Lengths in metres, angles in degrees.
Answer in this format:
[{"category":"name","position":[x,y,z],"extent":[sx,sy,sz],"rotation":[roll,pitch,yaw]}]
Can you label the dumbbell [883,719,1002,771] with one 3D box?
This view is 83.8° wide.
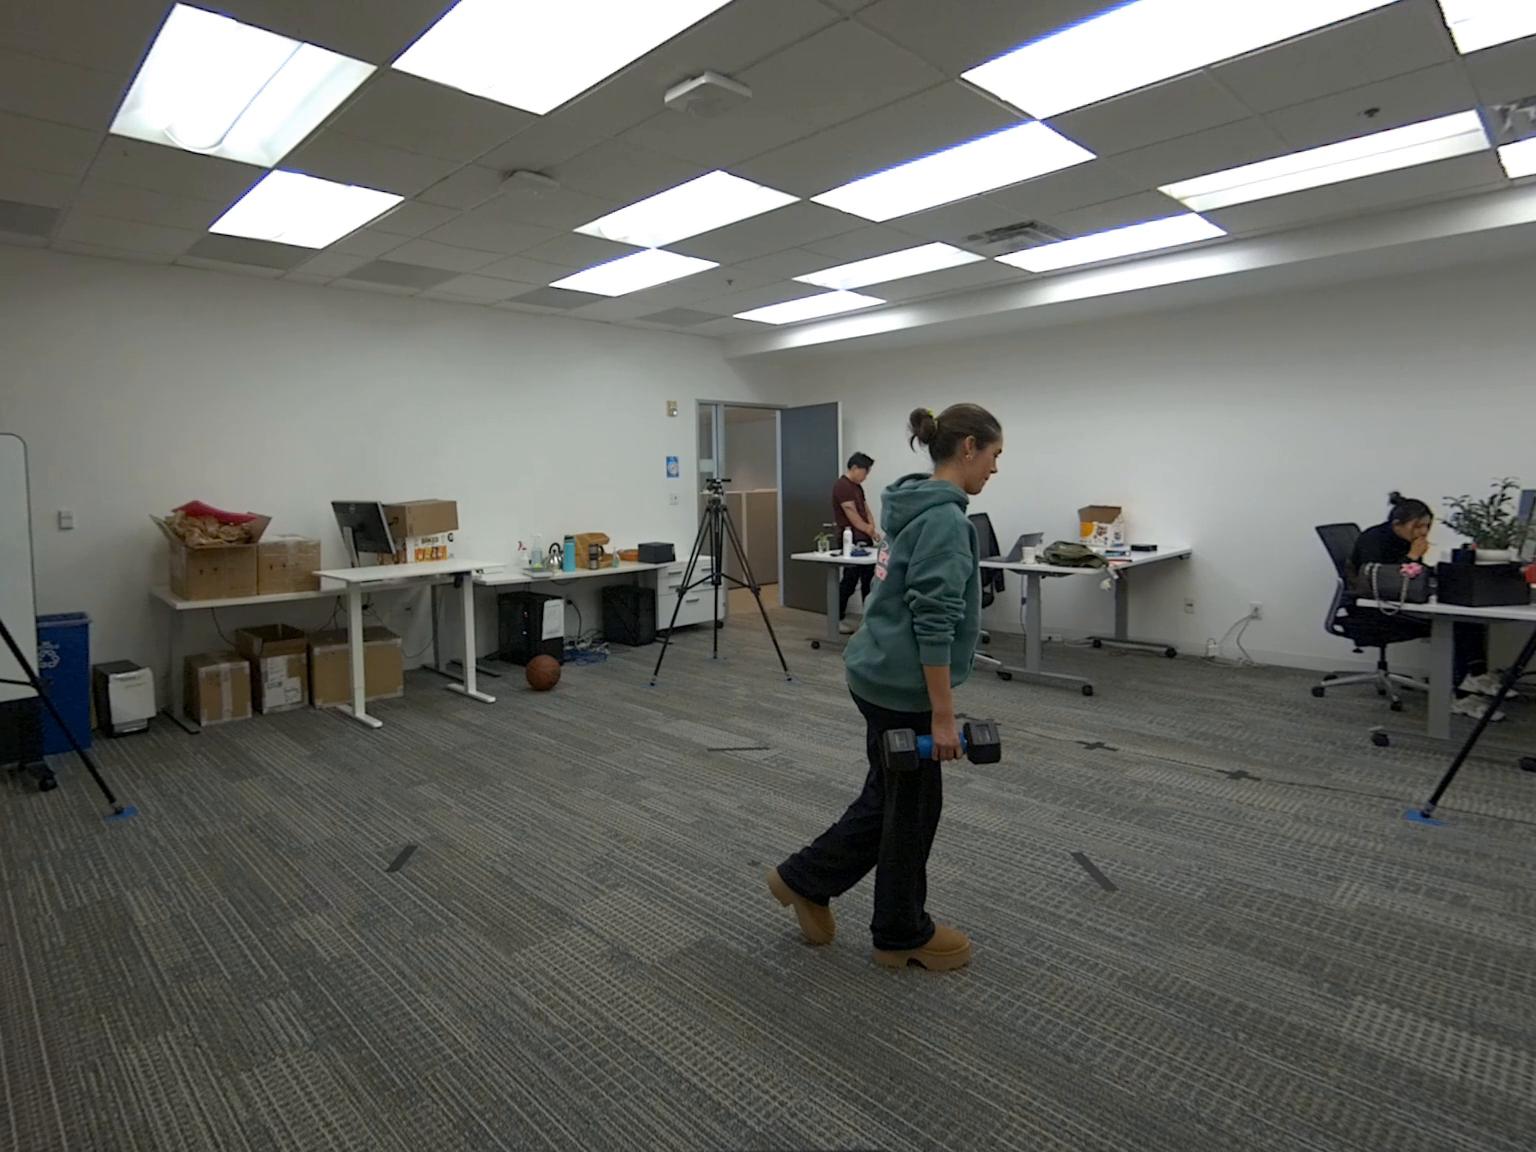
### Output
[{"category":"dumbbell","position":[0.469,0.451,2.259],"extent":[0.295,0.120,0.110],"rotation":[-7,22,5]}]
